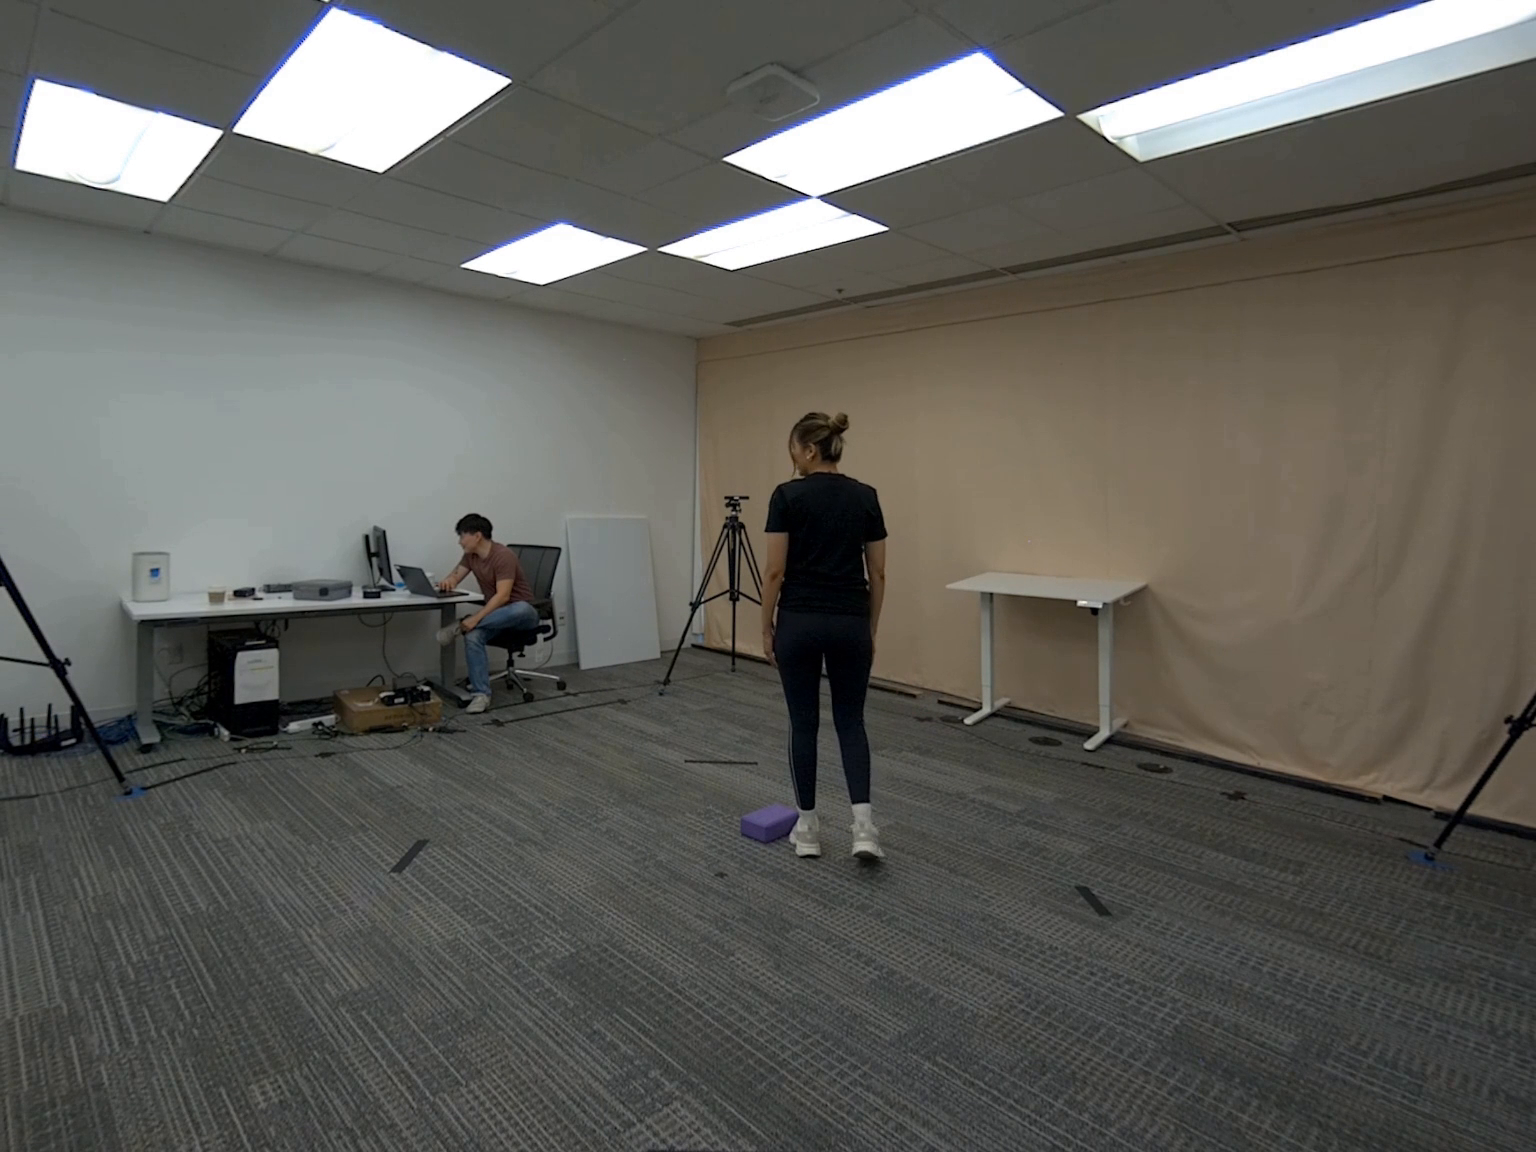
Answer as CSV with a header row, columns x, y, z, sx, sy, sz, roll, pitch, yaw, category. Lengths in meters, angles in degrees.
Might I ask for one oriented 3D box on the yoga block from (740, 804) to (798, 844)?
x,y,z,sx,sy,sz,roll,pitch,yaw,category
0.007,1.028,3.516,0.153,0.076,0.224,4,7,41,yoga block
